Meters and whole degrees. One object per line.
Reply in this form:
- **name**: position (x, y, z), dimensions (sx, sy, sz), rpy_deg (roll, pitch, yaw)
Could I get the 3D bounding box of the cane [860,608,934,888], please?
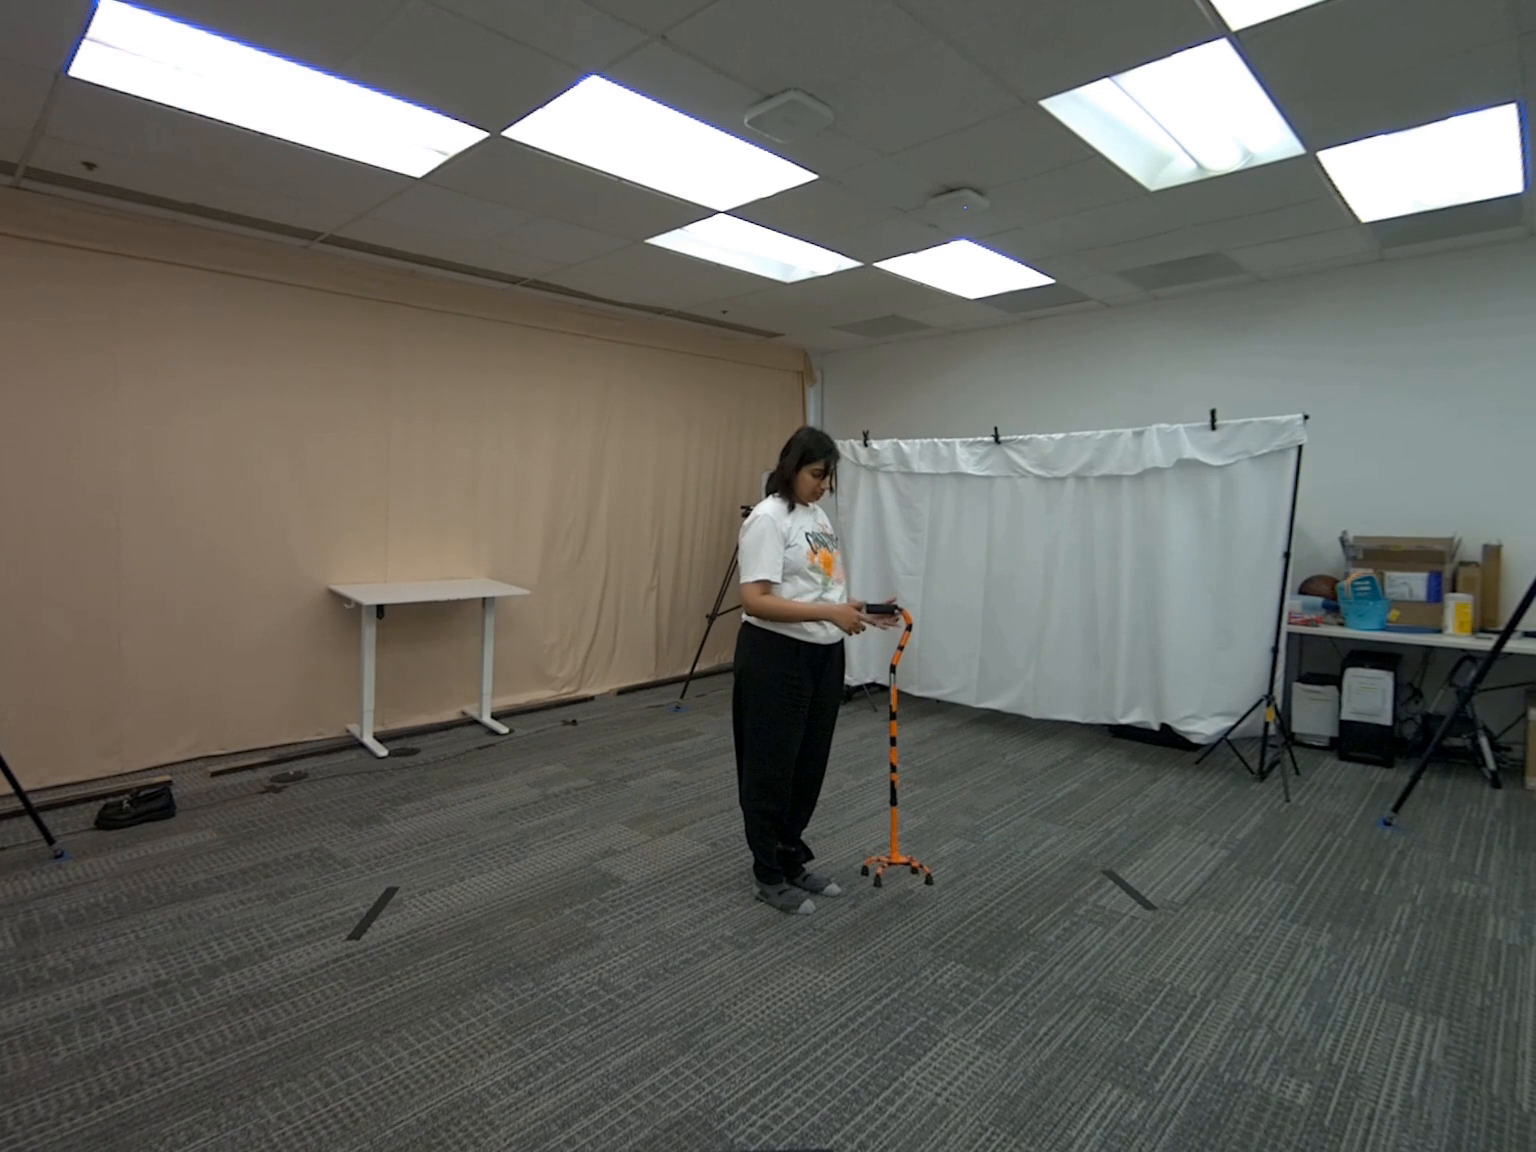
- **cane**: position (0.440, 0.572, 2.828), dimensions (0.204, 0.910, 0.153), rpy_deg (2, -4, -11)
